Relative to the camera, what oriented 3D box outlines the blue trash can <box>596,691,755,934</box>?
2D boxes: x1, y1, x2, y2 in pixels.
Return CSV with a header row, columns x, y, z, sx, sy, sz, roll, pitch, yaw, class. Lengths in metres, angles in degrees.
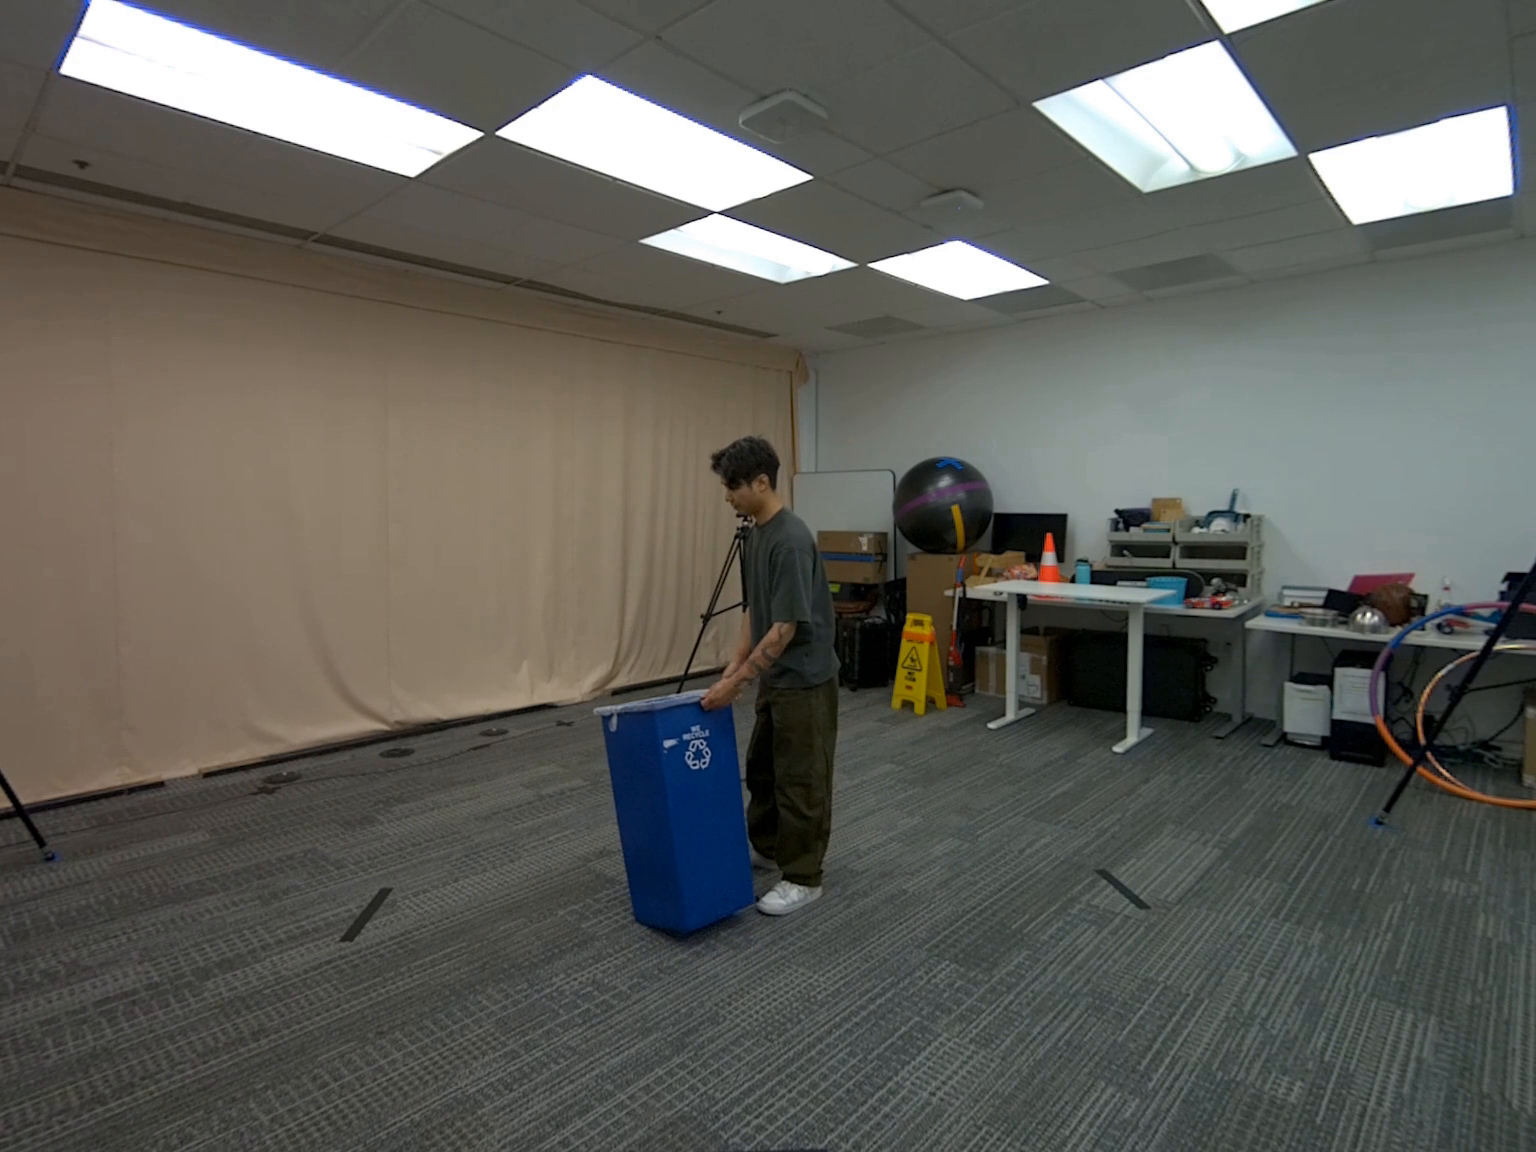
x,y,z,sx,sy,sz,roll,pitch,yaw,class
-0.297,0.775,2.870,0.366,0.718,0.383,-3,-10,-43,blue trash can
